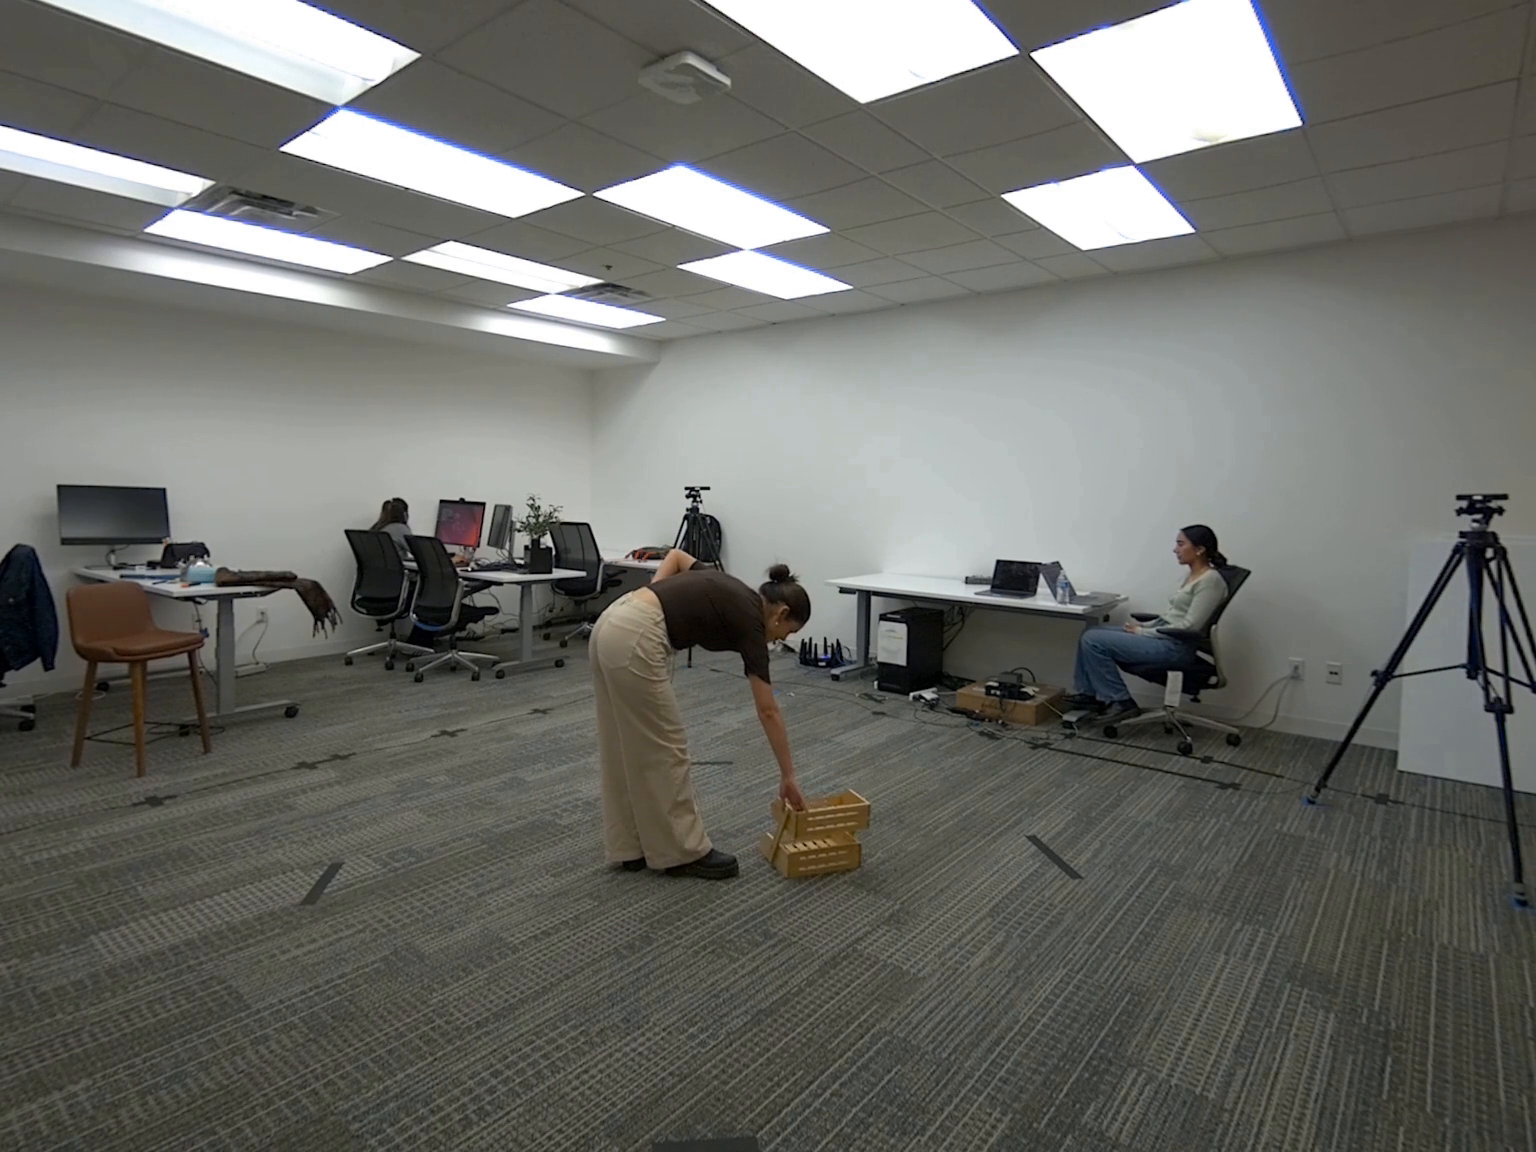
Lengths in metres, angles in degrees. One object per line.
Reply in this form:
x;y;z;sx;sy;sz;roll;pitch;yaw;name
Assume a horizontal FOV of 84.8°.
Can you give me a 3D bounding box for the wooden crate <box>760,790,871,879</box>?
0.156;0.932;3.169;0.317;0.272;0.310;-1;7;-24;wooden crate
